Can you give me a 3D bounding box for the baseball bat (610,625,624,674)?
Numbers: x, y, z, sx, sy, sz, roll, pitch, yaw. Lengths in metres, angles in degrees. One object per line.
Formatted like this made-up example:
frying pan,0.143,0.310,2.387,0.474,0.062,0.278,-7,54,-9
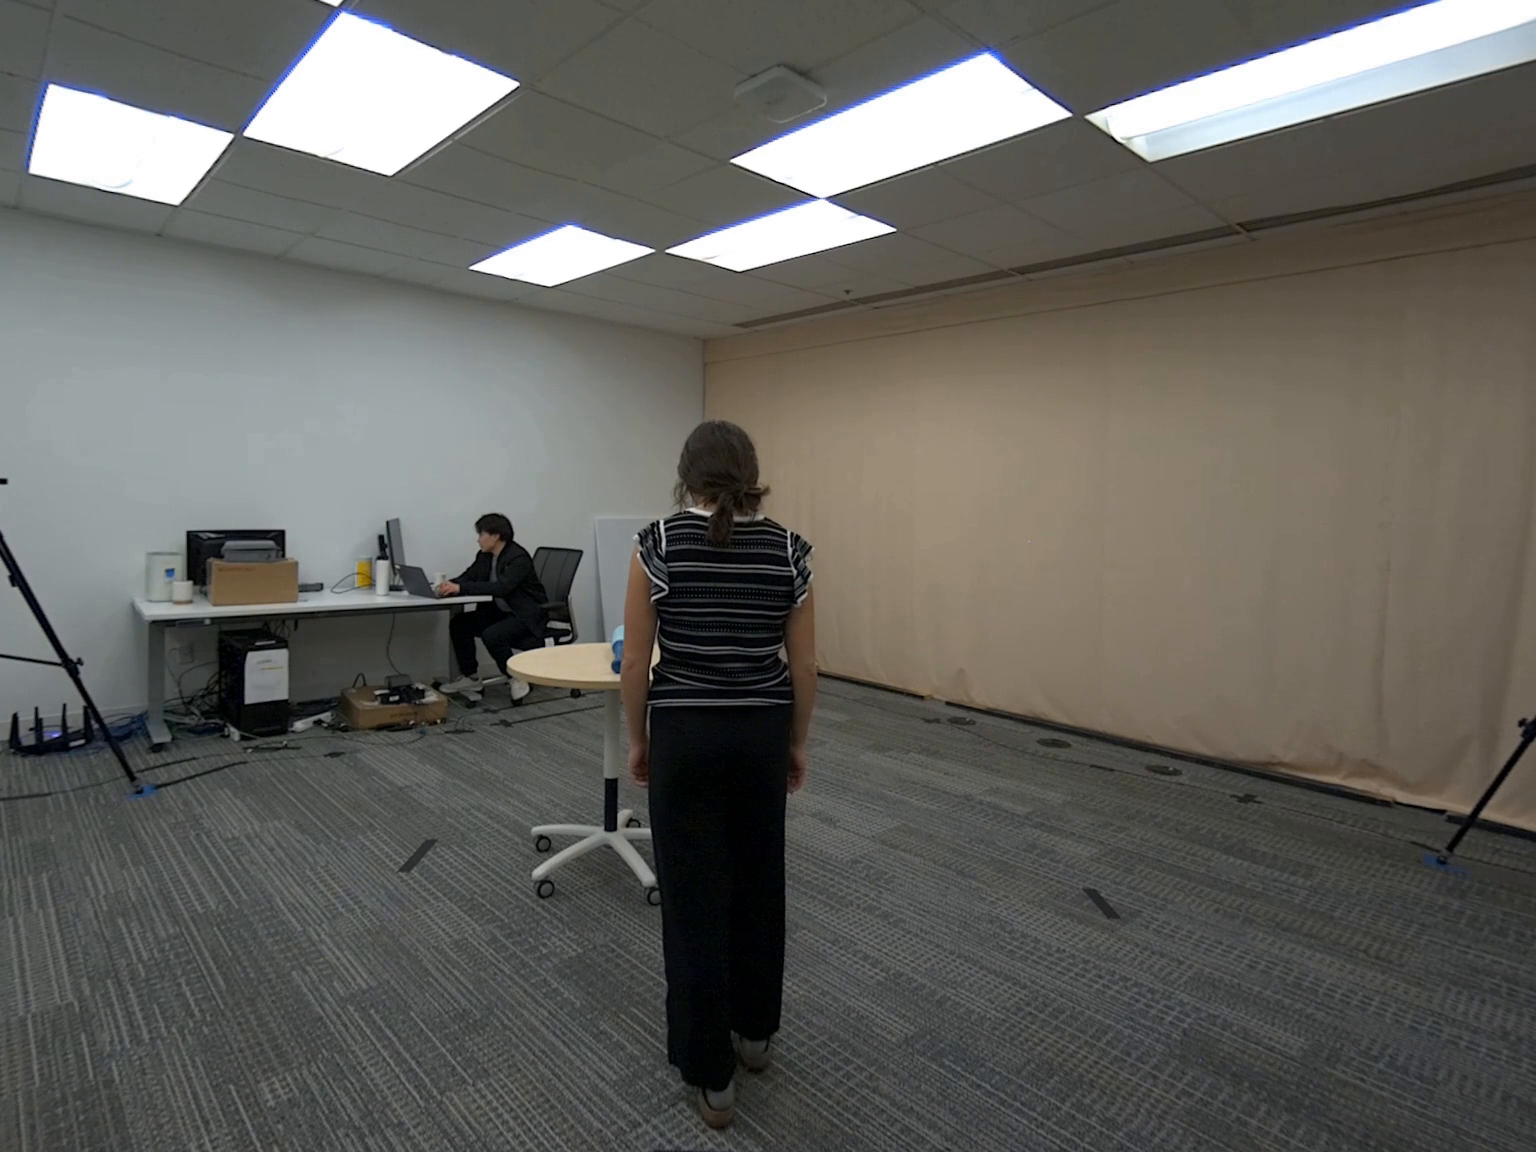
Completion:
baseball bat,-0.559,0.275,3.132,0.088,0.088,0.548,1,7,-8
